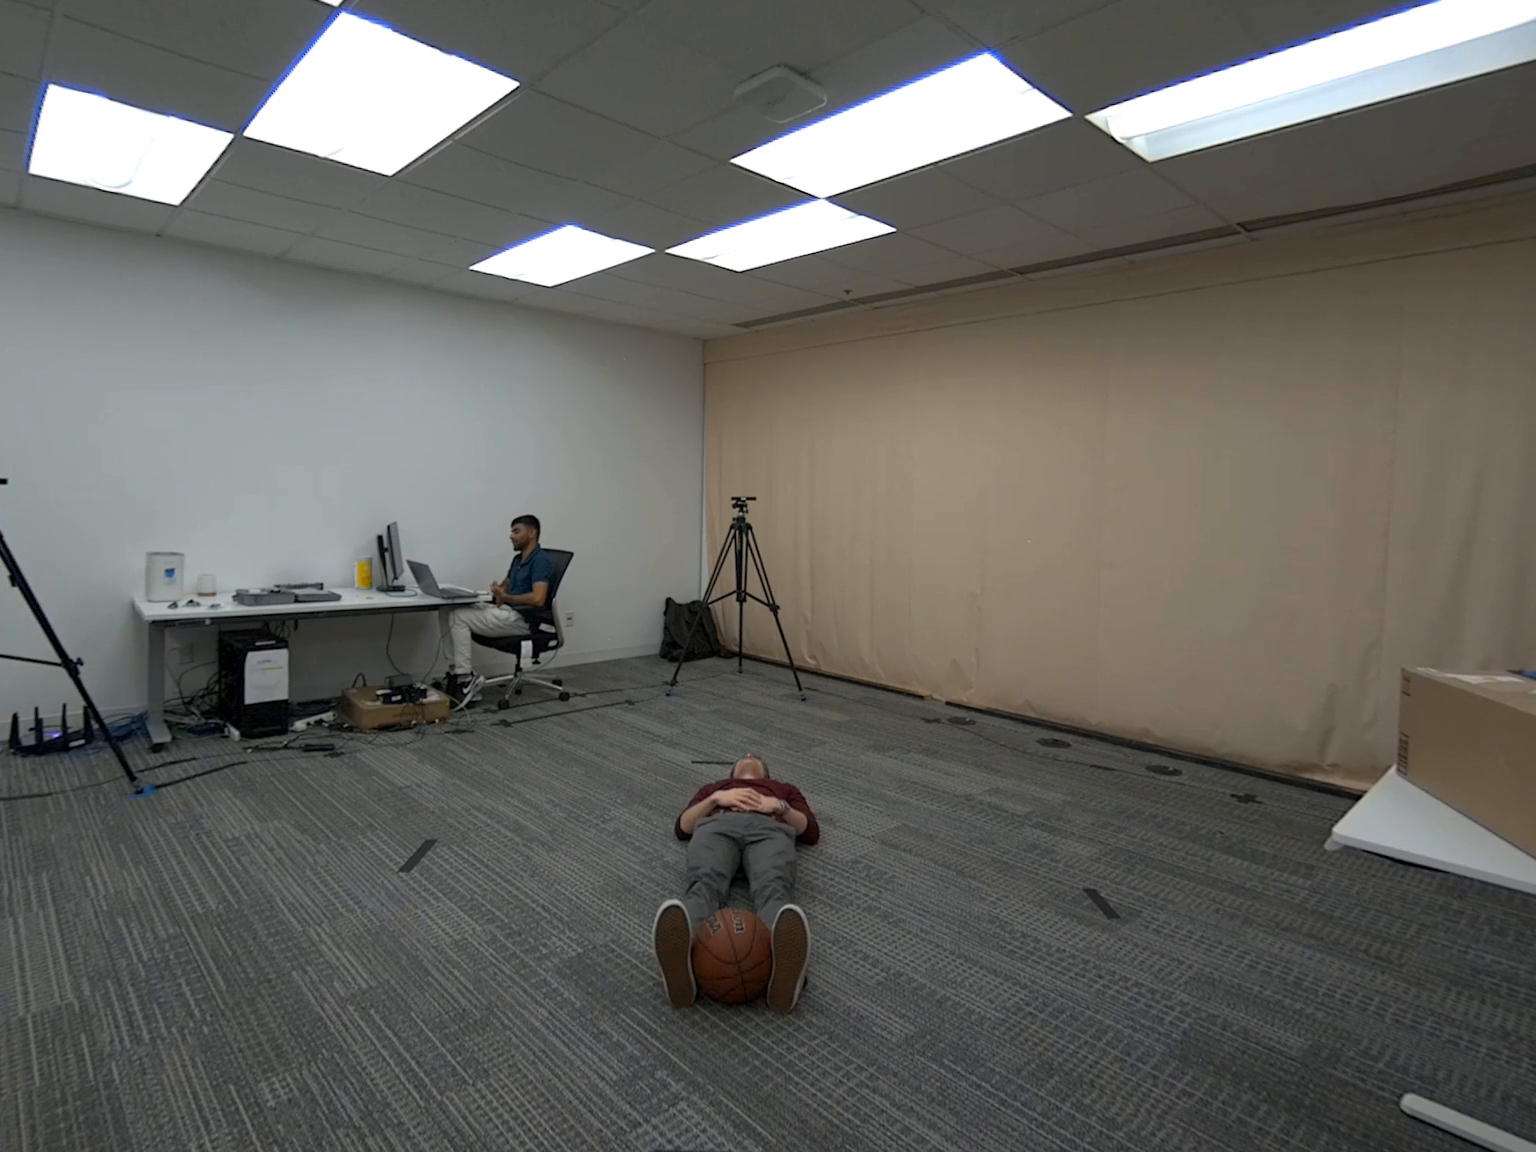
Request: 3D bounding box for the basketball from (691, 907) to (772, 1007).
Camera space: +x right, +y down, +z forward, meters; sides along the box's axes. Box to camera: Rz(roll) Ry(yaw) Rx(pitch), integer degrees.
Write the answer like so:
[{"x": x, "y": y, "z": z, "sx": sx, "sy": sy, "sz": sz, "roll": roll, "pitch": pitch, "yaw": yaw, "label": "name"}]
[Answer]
[{"x": -0.103, "y": 1.054, "z": 2.342, "sx": 0.236, "sy": 0.234, "sz": 0.237, "roll": 0, "pitch": 7, "yaw": -1, "label": "basketball"}]
